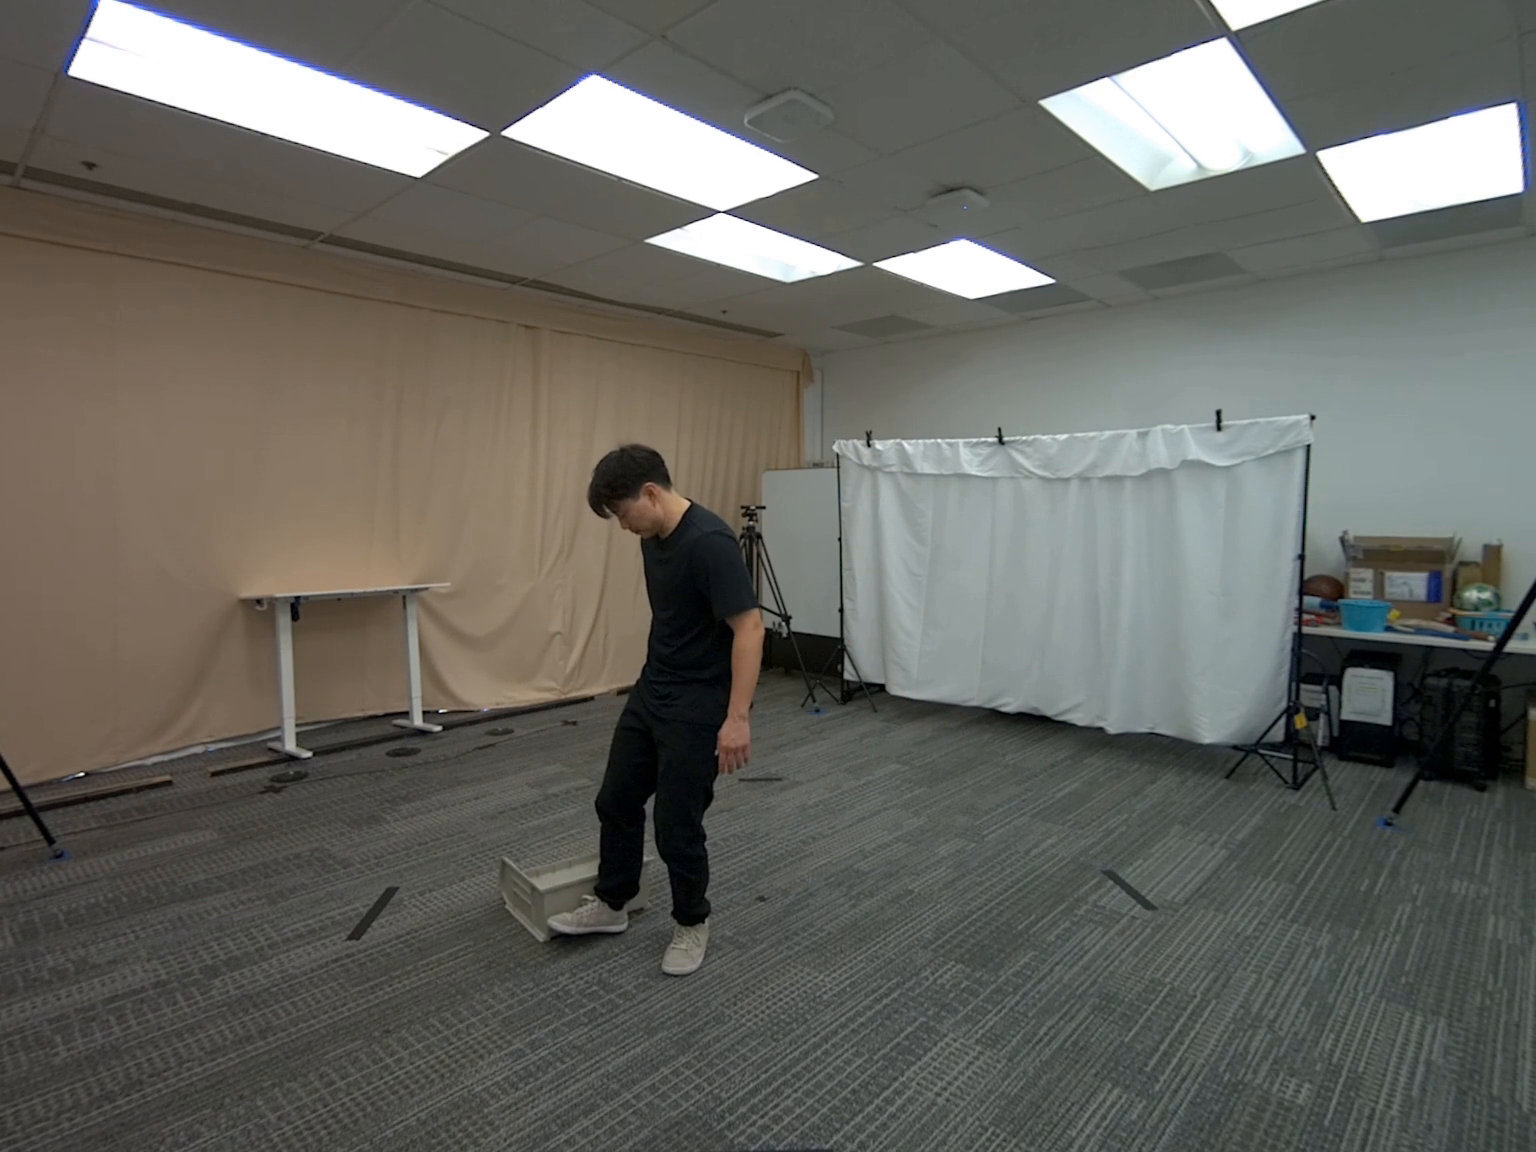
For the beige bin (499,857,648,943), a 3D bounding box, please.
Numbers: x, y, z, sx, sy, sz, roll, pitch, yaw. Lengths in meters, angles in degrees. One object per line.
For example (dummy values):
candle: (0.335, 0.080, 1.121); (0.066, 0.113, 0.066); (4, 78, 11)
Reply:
beige bin: (-0.678, 1.065, 2.944); (0.410, 0.188, 0.389); (-3, 5, -37)
